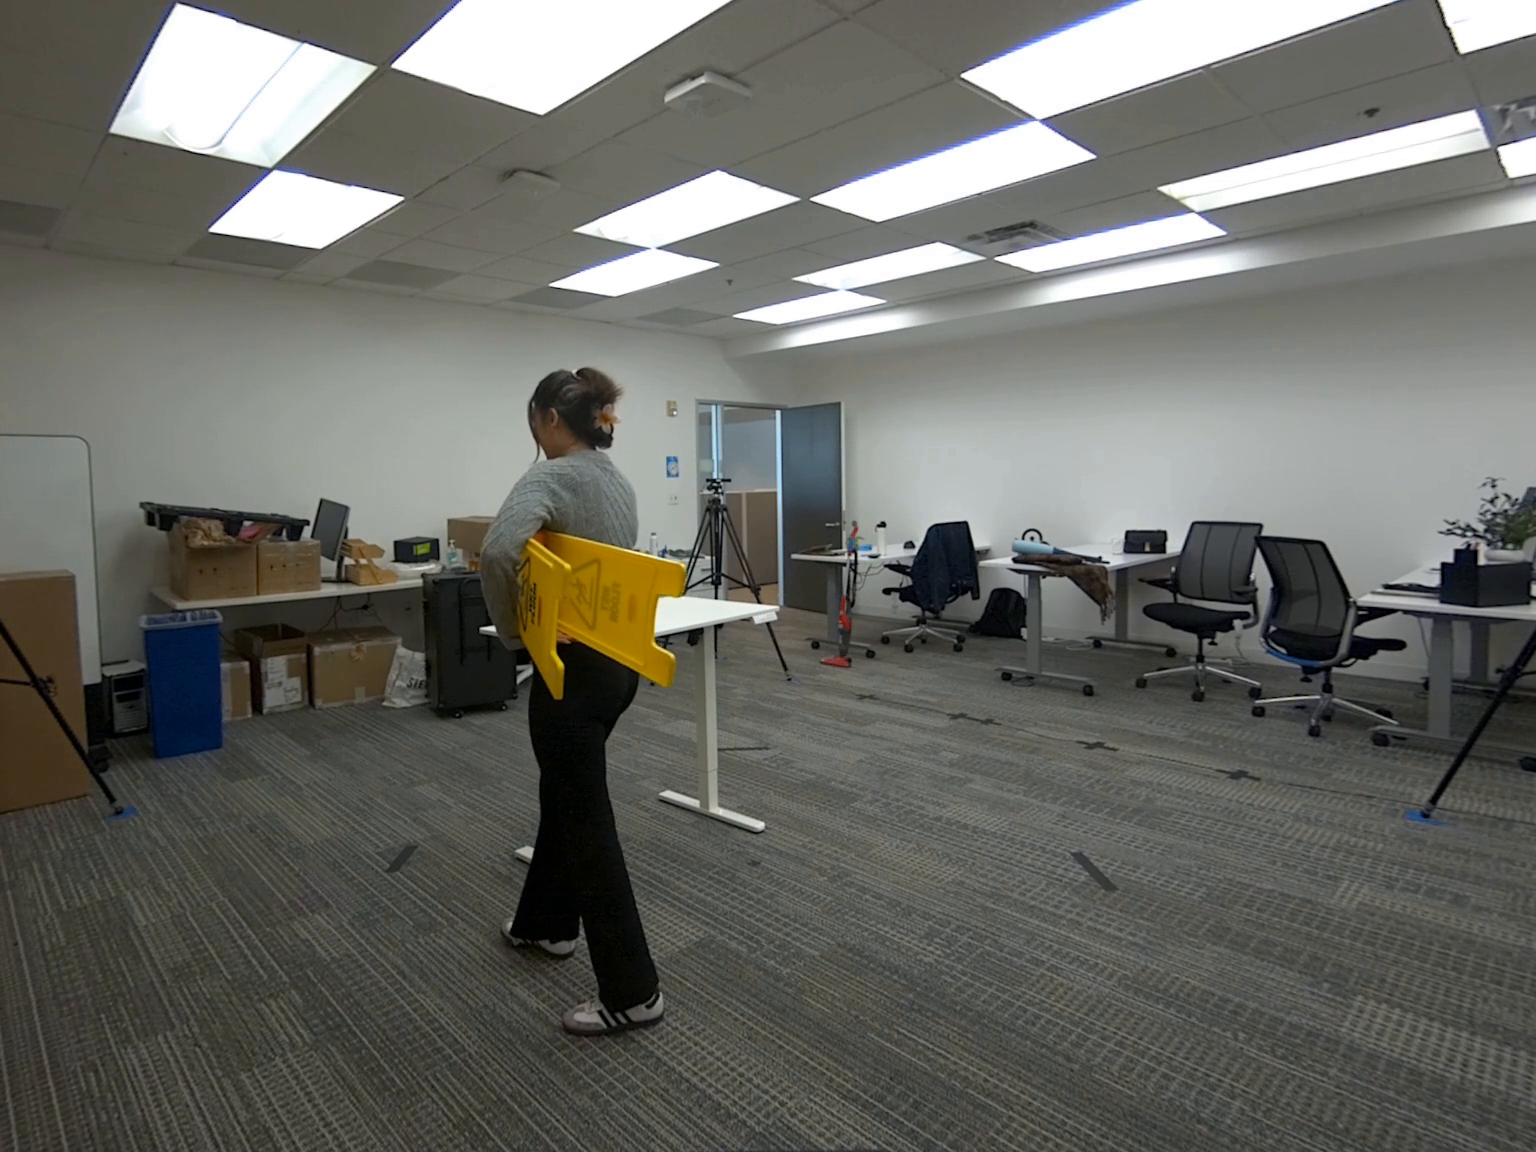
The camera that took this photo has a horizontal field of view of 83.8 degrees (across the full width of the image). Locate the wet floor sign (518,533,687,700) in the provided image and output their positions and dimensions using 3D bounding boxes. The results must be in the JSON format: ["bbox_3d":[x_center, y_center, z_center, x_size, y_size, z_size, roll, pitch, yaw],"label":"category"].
[{"bbox_3d":[-0.496,0.039,2.020,0.282,0.280,0.669,-2,14,-38],"label":"wet floor sign"}]
